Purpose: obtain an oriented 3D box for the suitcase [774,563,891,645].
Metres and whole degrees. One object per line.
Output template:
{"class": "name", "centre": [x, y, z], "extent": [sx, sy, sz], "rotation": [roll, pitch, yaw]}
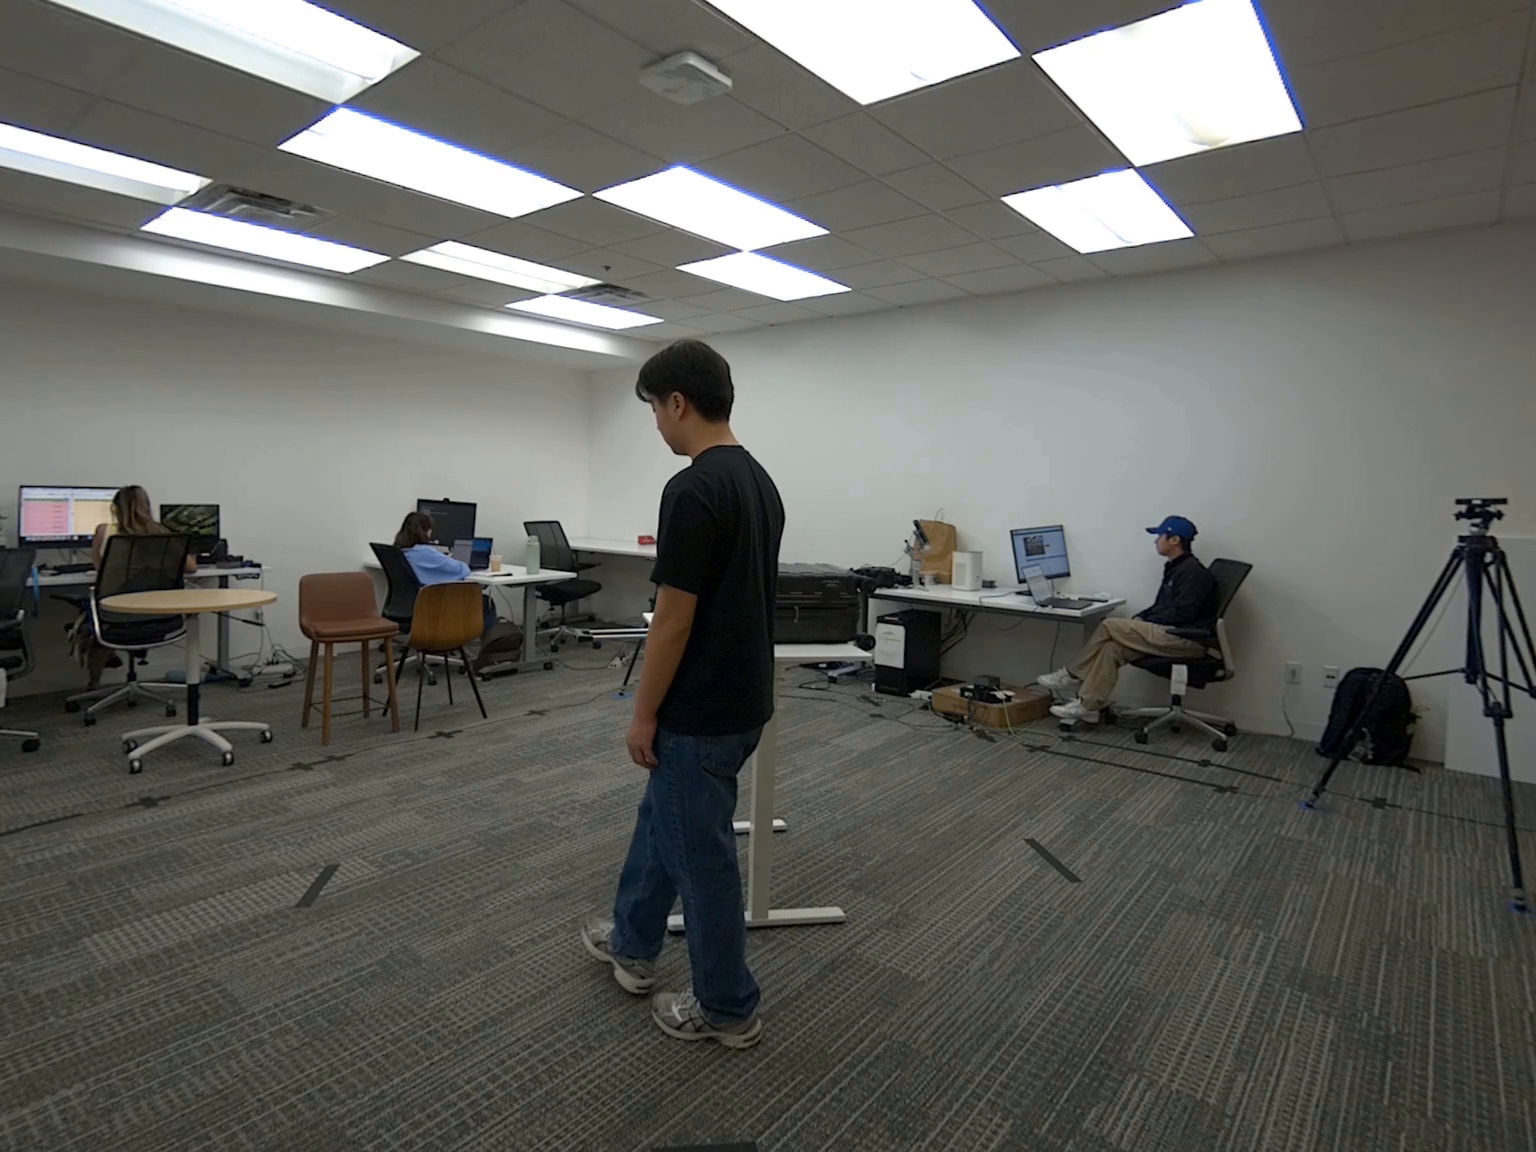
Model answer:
{"class": "suitcase", "centre": [-0.149, 0.089, 2.886], "extent": [0.963, 0.256, 0.391], "rotation": [2, 4, -15]}
